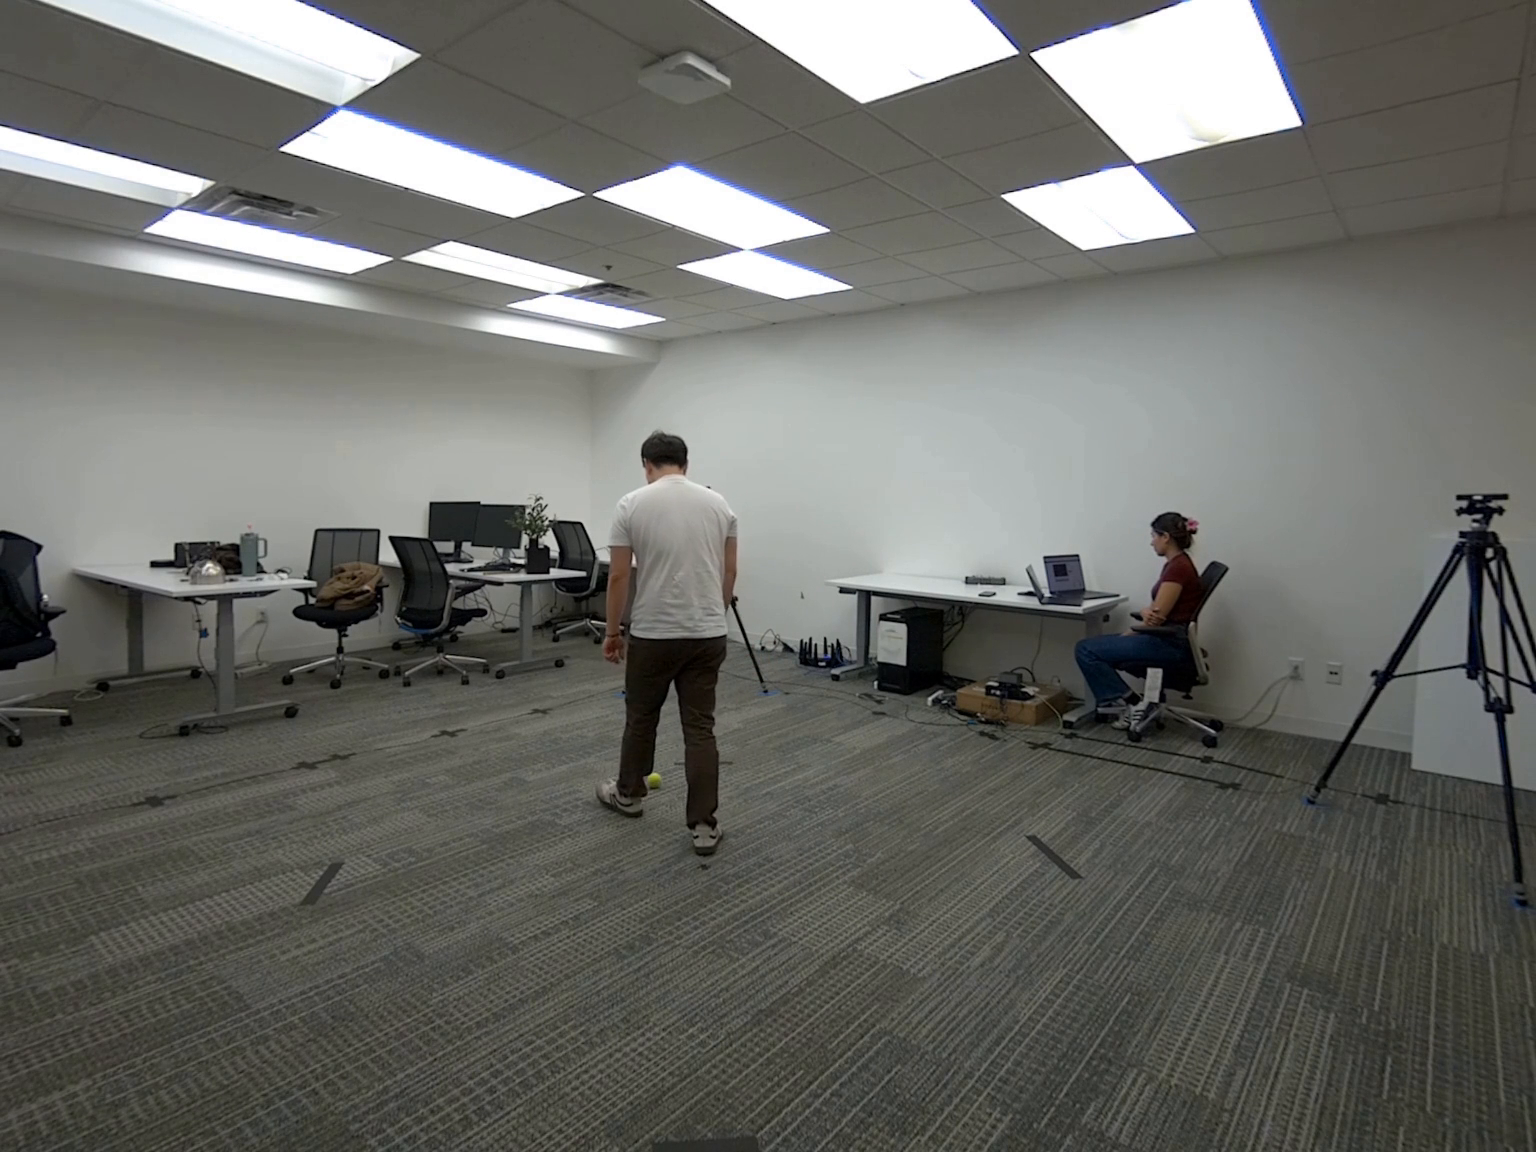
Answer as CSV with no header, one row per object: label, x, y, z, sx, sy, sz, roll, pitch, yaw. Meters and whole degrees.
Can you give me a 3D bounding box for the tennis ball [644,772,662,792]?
tennis ball,-0.539,0.936,3.941,0.066,0.066,0.067,1,4,-2
